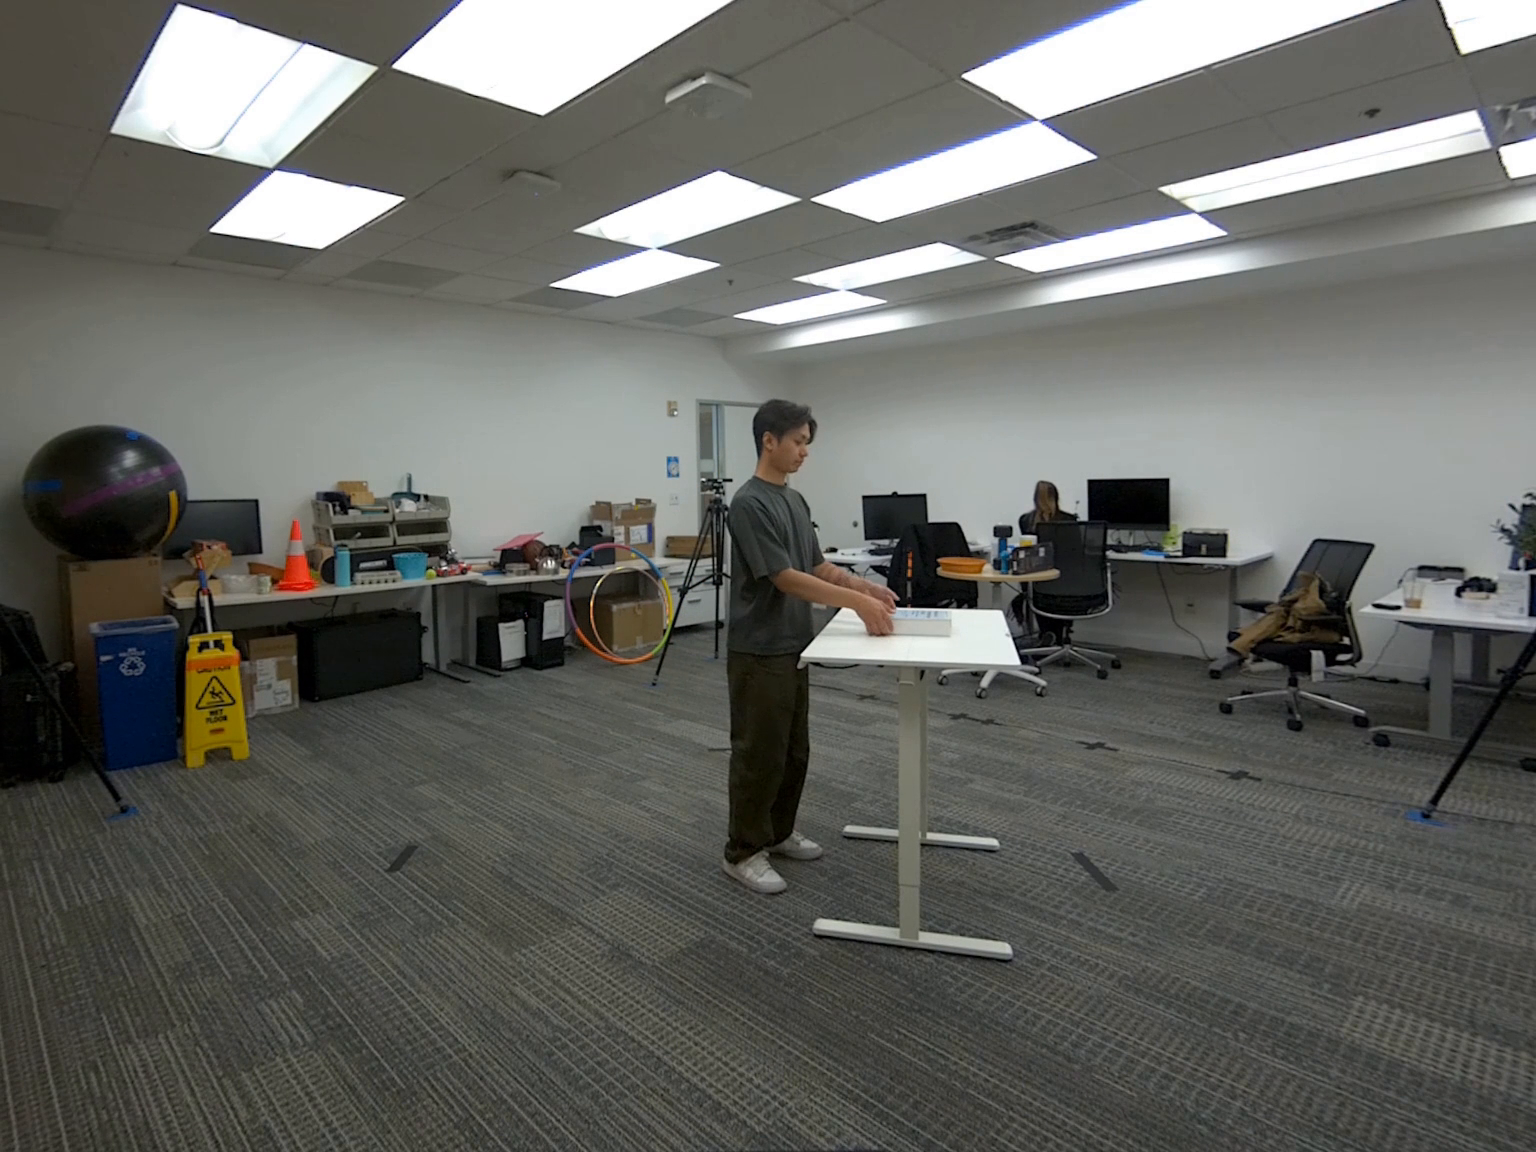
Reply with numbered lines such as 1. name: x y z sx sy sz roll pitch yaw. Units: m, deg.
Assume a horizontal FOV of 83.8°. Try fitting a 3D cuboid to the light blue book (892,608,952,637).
1. light blue book: 0.479 0.158 2.833 0.264 0.059 0.190 1 6 11
